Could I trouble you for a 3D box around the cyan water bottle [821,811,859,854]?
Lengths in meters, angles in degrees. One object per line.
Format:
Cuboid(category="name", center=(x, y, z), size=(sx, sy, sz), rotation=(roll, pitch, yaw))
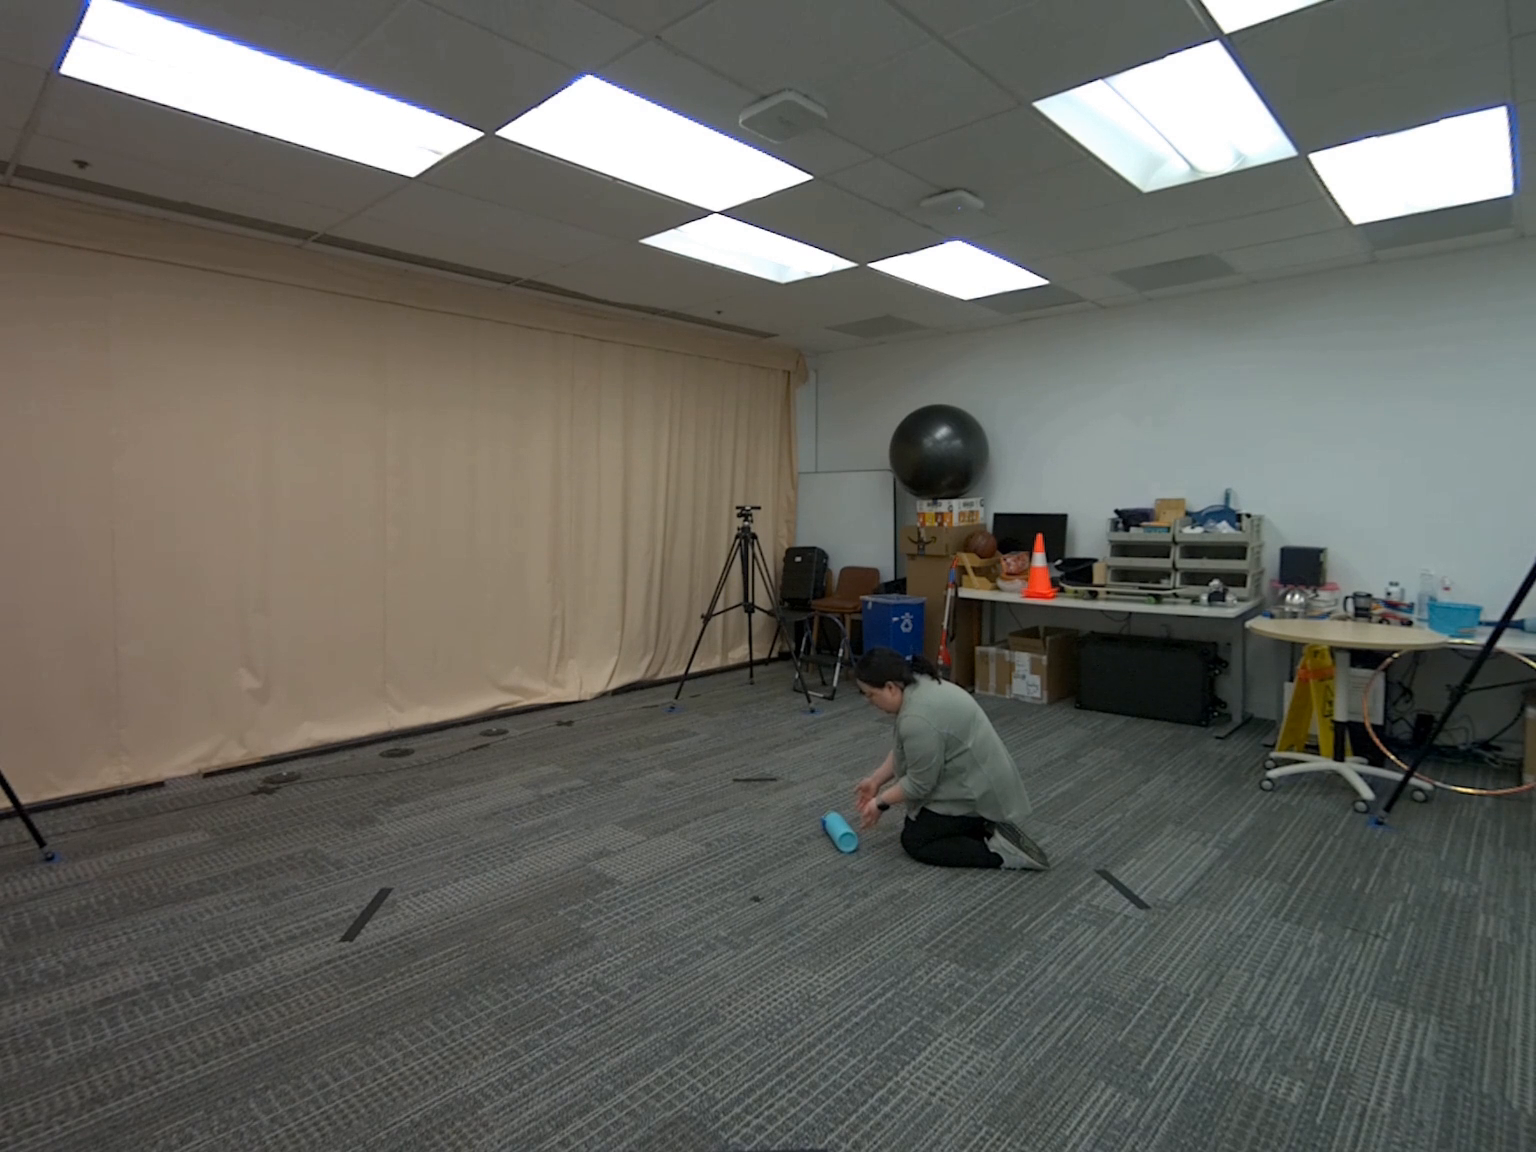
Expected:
Cuboid(category="cyan water bottle", center=(0.299, 1.056, 3.518), size=(0.091, 0.092, 0.287), rotation=(-1, 4, -11))
